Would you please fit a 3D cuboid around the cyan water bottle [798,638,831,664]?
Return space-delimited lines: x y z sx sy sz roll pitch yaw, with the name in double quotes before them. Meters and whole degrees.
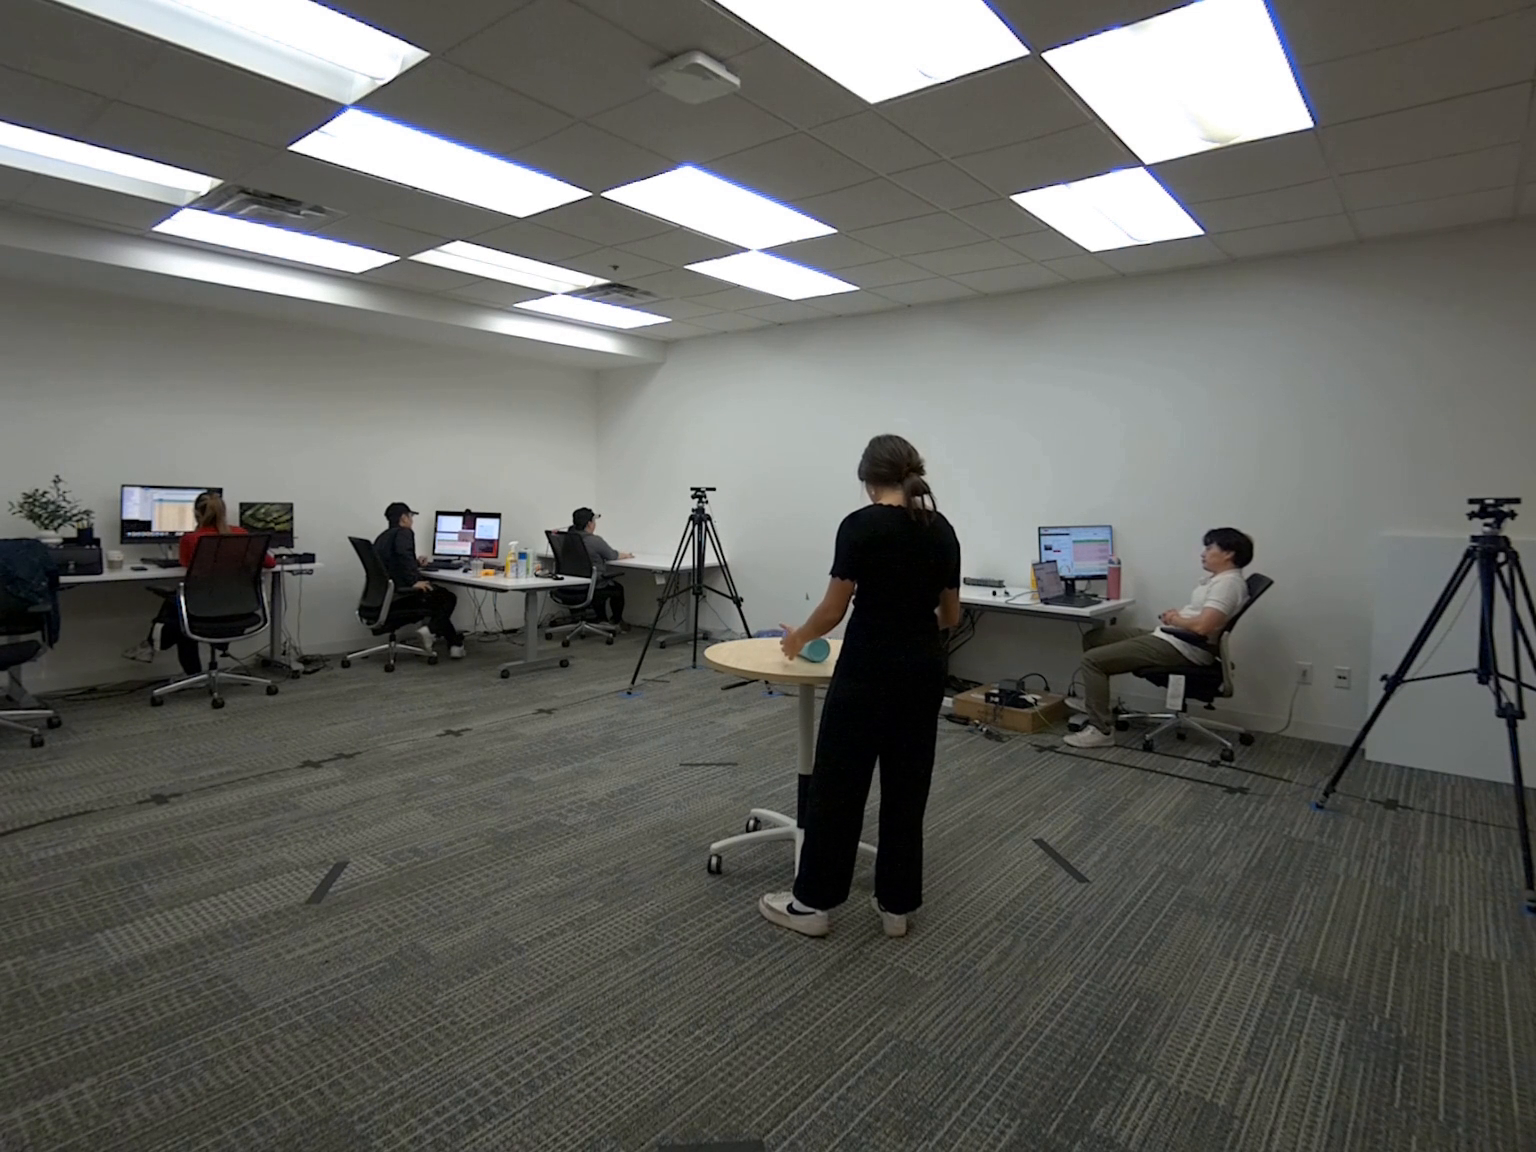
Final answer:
"cyan water bottle" 0.121 0.241 3.109 0.090 0.092 0.290 -1 5 -22
